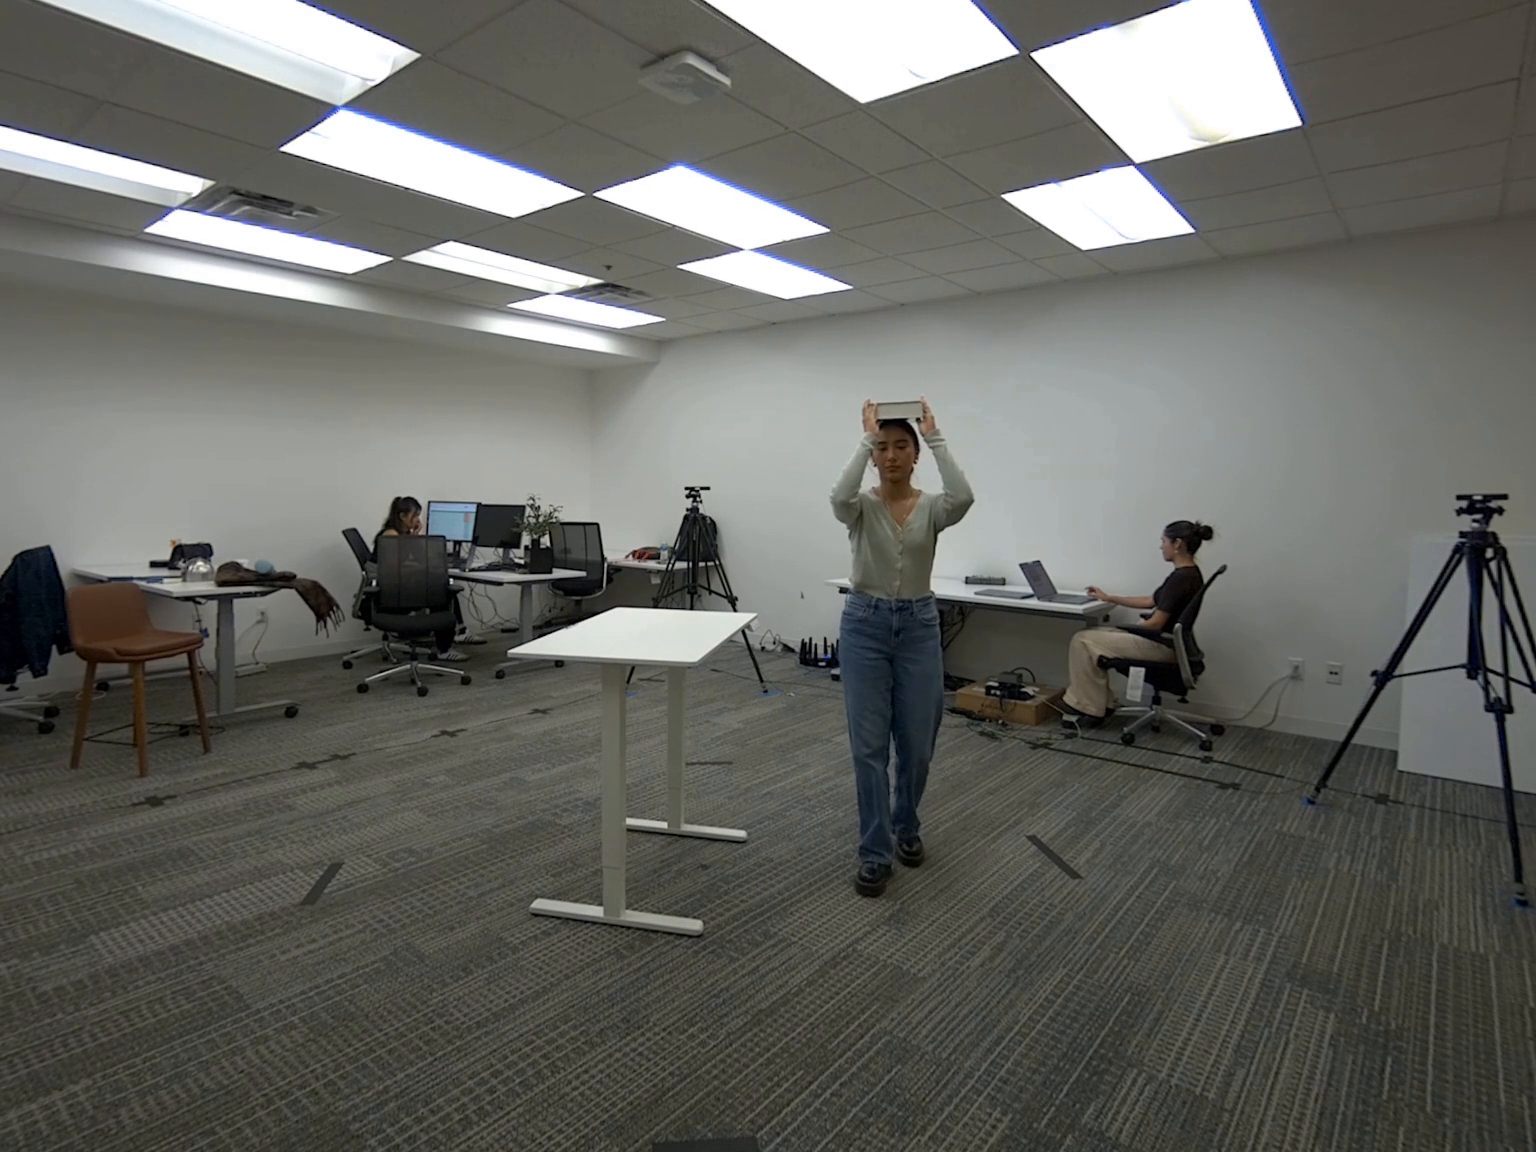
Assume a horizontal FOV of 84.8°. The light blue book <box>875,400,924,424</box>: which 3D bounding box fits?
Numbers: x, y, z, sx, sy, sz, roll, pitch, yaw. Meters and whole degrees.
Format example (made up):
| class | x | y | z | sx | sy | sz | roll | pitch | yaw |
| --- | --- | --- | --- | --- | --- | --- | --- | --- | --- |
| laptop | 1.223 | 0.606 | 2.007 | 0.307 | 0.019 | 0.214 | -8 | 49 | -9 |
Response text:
| class | x | y | z | sx | sy | sz | roll | pitch | yaw |
| --- | --- | --- | --- | --- | --- | --- | --- | --- | --- |
| light blue book | 0.450 | -0.589 | 3.037 | 0.193 | 0.058 | 0.261 | -1 | 7 | 5 |
